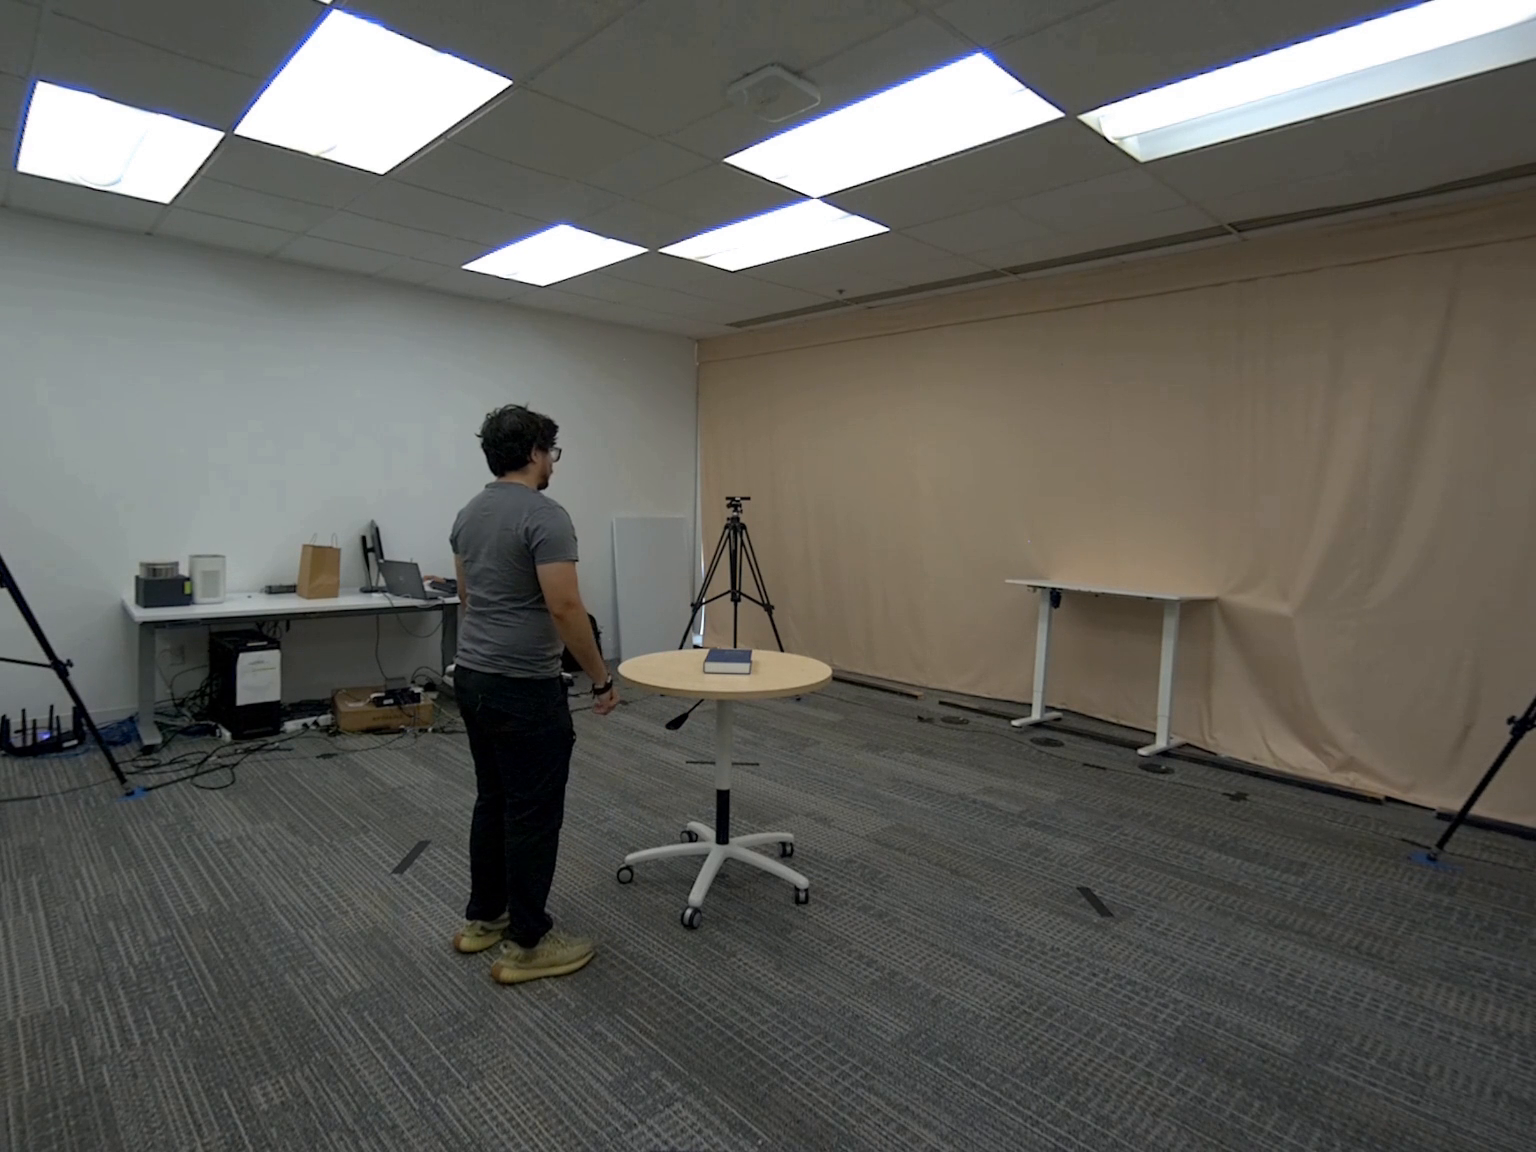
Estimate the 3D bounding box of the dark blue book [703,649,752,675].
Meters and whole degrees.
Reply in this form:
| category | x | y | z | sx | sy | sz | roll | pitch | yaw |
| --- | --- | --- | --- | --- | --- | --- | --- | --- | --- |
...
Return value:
| category | x | y | z | sx | sy | sz | roll | pitch | yaw |
| --- | --- | --- | --- | --- | --- | --- | --- | --- | --- |
| dark blue book | -0.153 | 0.310 | 3.033 | 0.164 | 0.045 | 0.245 | 2 | 5 | 1 |
